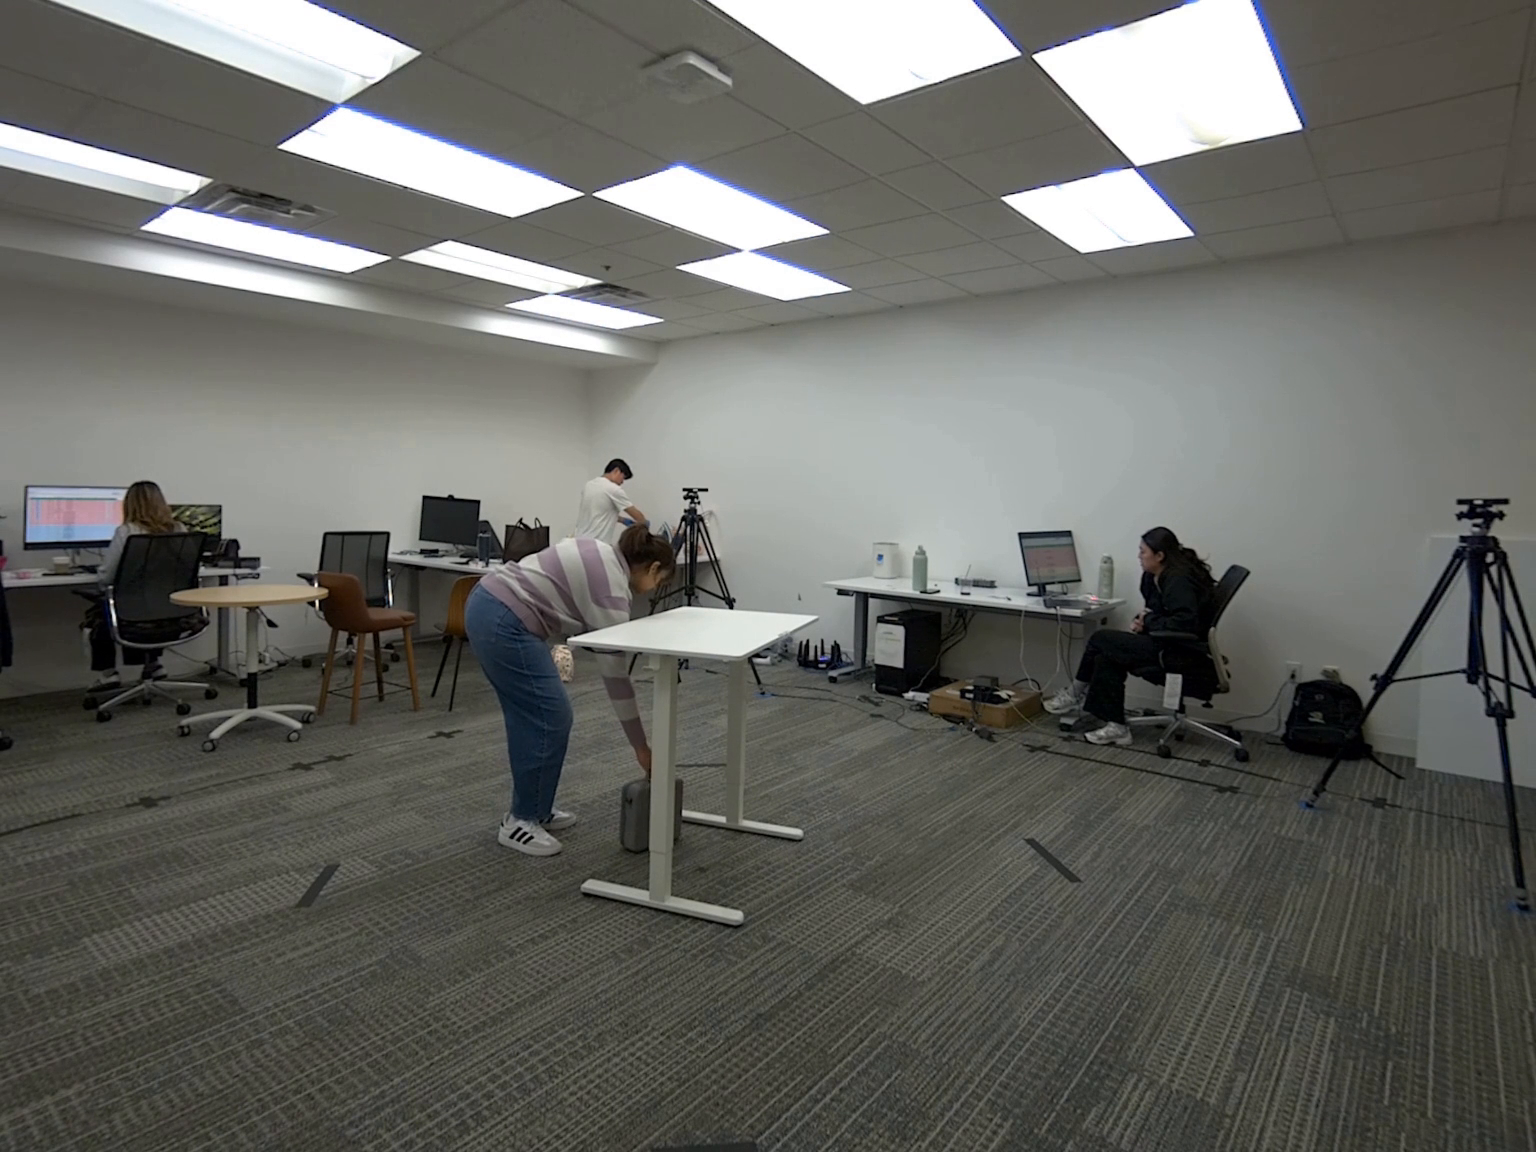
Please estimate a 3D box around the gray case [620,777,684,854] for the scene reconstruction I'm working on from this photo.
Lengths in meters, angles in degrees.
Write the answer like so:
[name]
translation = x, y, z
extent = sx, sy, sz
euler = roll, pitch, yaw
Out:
[gray case]
translation = -0.461, 0.911, 3.321
extent = 0.249, 0.260, 0.108
euler = 0, 4, -43
